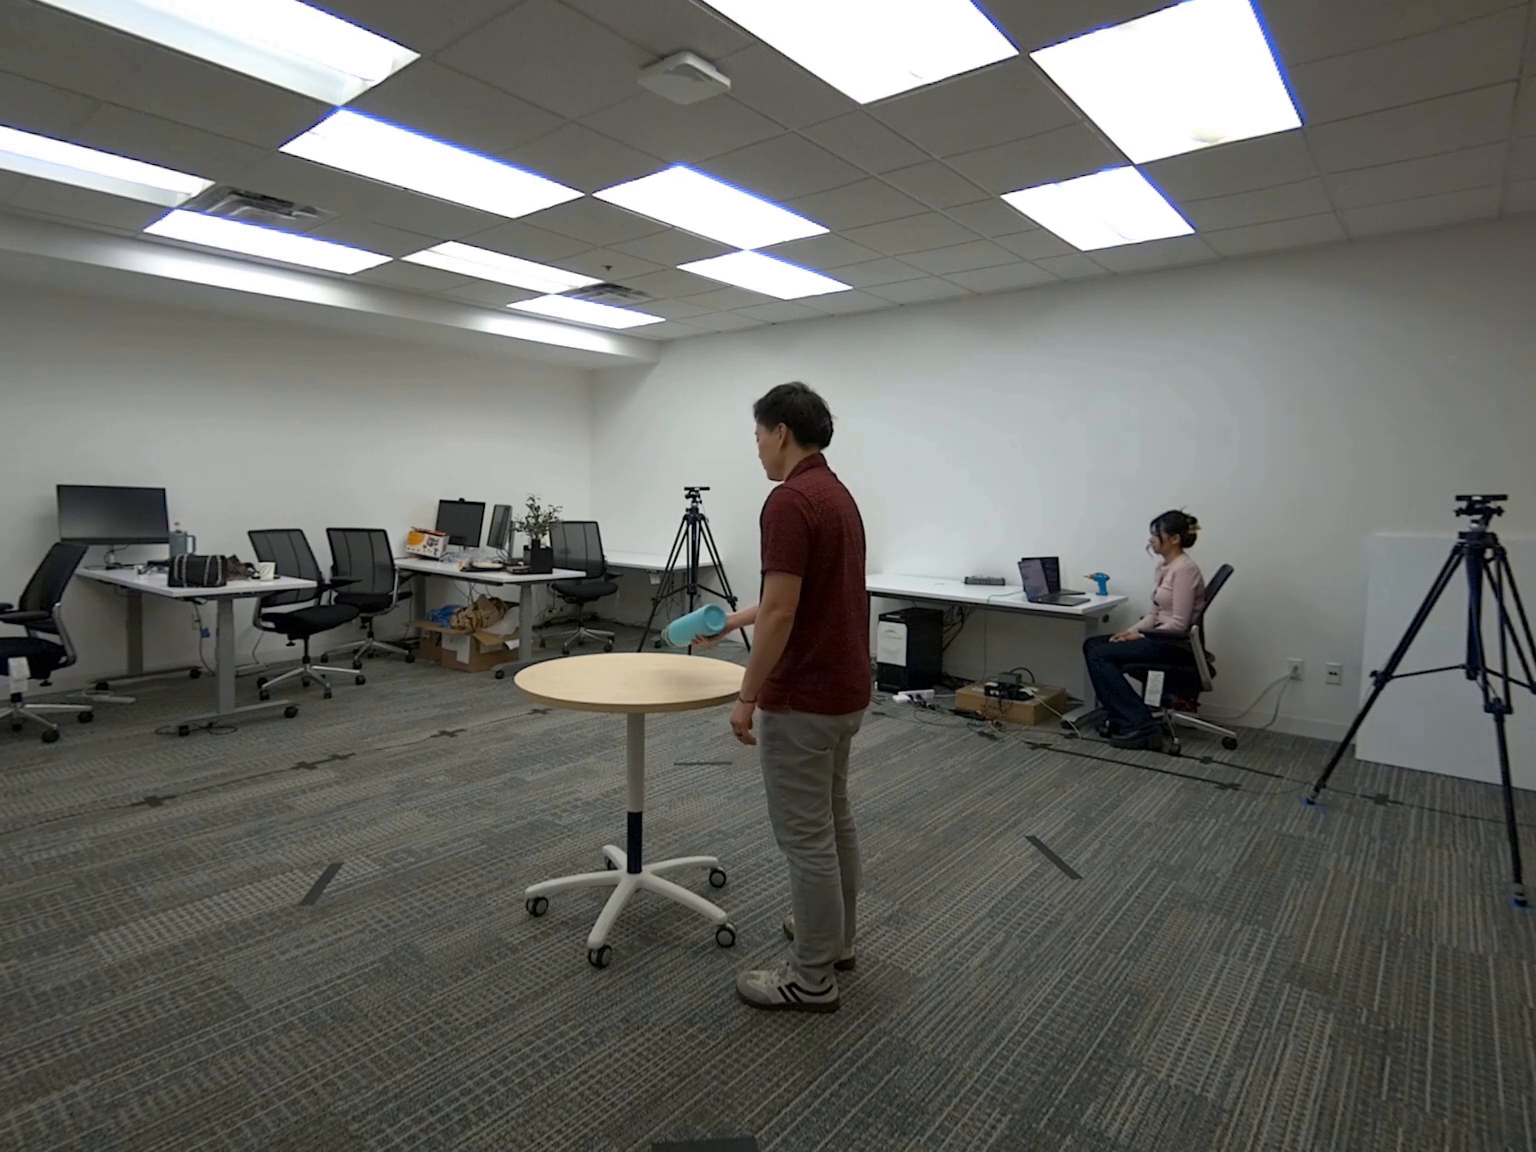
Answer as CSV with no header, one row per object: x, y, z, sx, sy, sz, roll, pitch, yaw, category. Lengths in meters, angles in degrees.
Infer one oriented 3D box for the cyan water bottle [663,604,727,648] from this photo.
-0.258,0.155,2.690,0.090,0.094,0.287,-2,-14,-34,cyan water bottle
